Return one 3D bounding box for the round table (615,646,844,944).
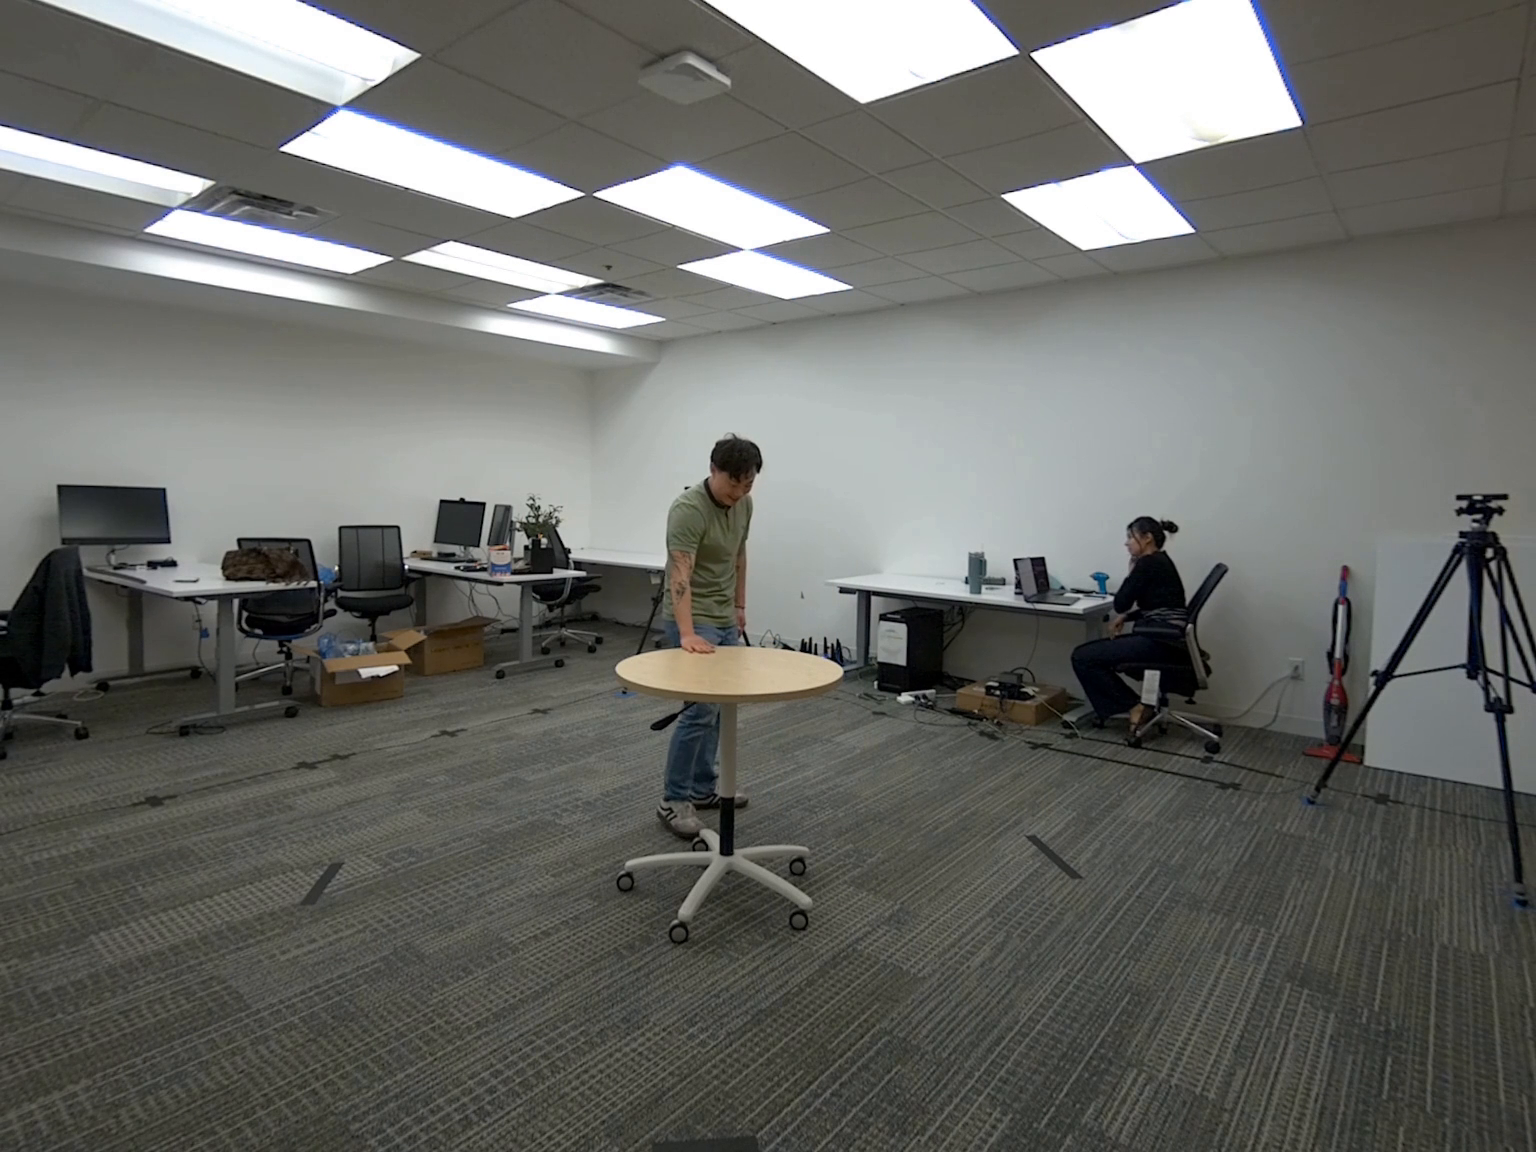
[{"bbox_3d":[-0.146,0.698,2.893,0.763,0.791,0.768,1,4,-2],"label":"round table"}]
